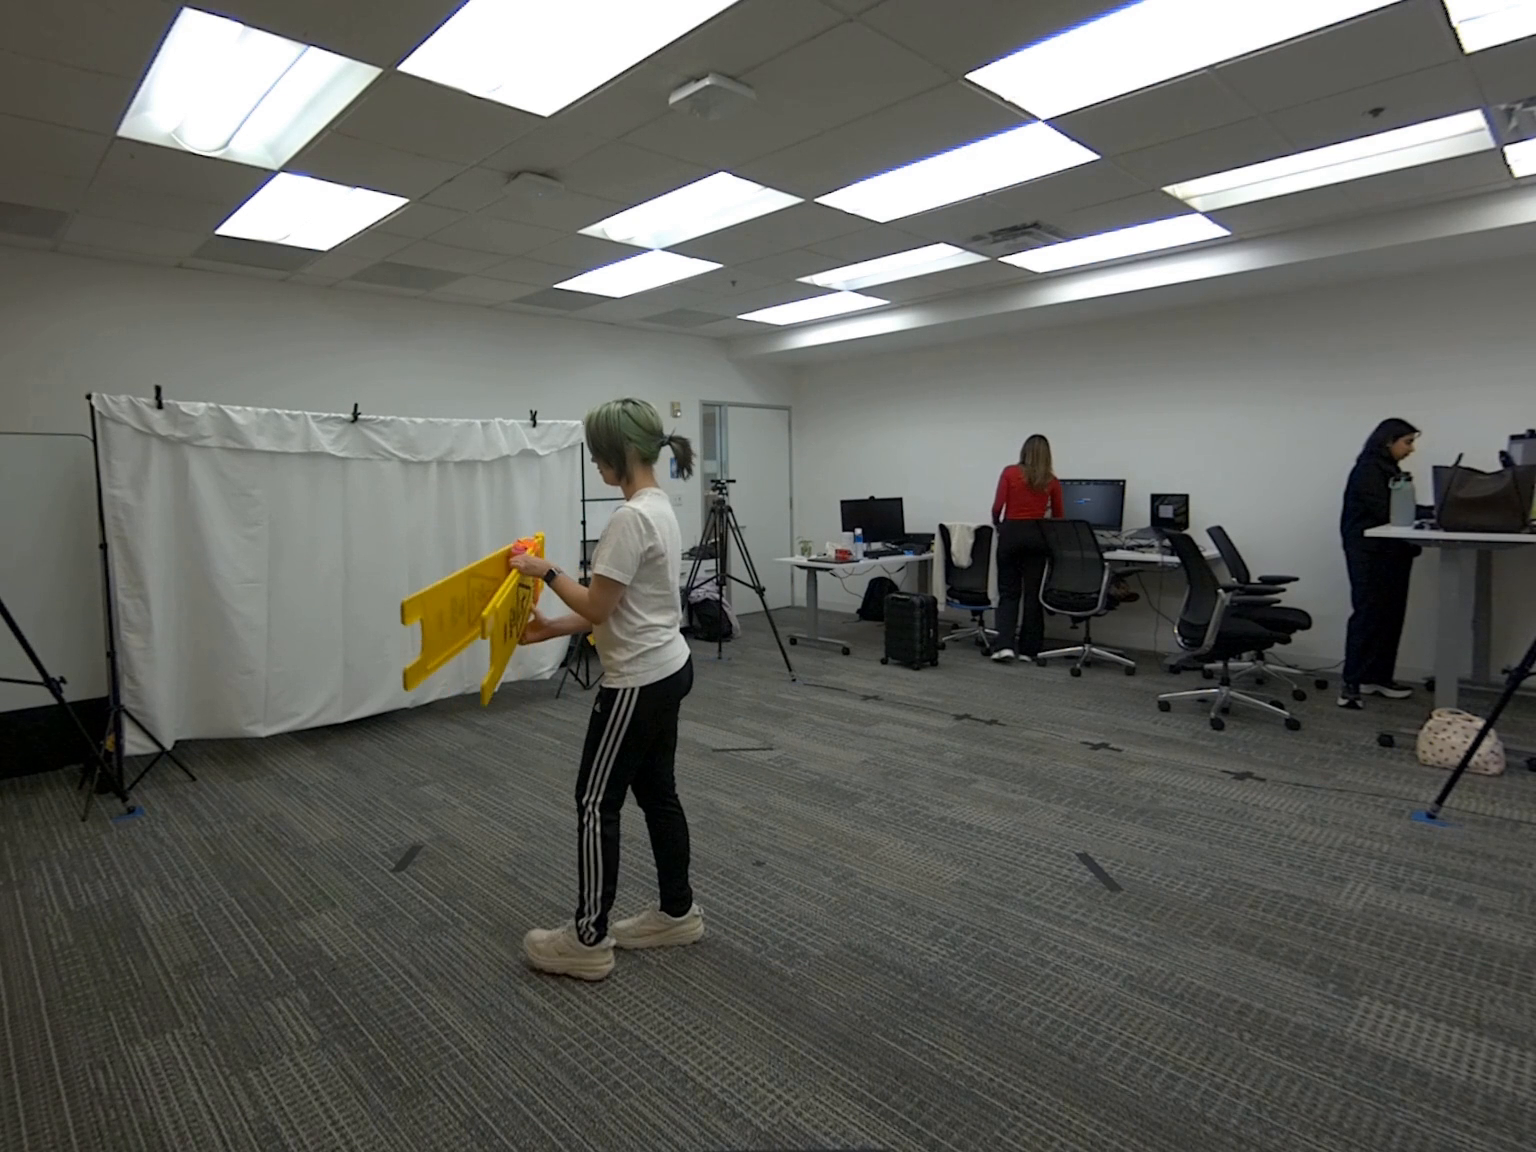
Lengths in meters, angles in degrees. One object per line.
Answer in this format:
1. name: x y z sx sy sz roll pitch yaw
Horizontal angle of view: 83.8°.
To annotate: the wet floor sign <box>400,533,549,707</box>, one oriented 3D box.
1. wet floor sign: -0.790 0.078 2.509 0.292 0.277 0.653 7 26 6
